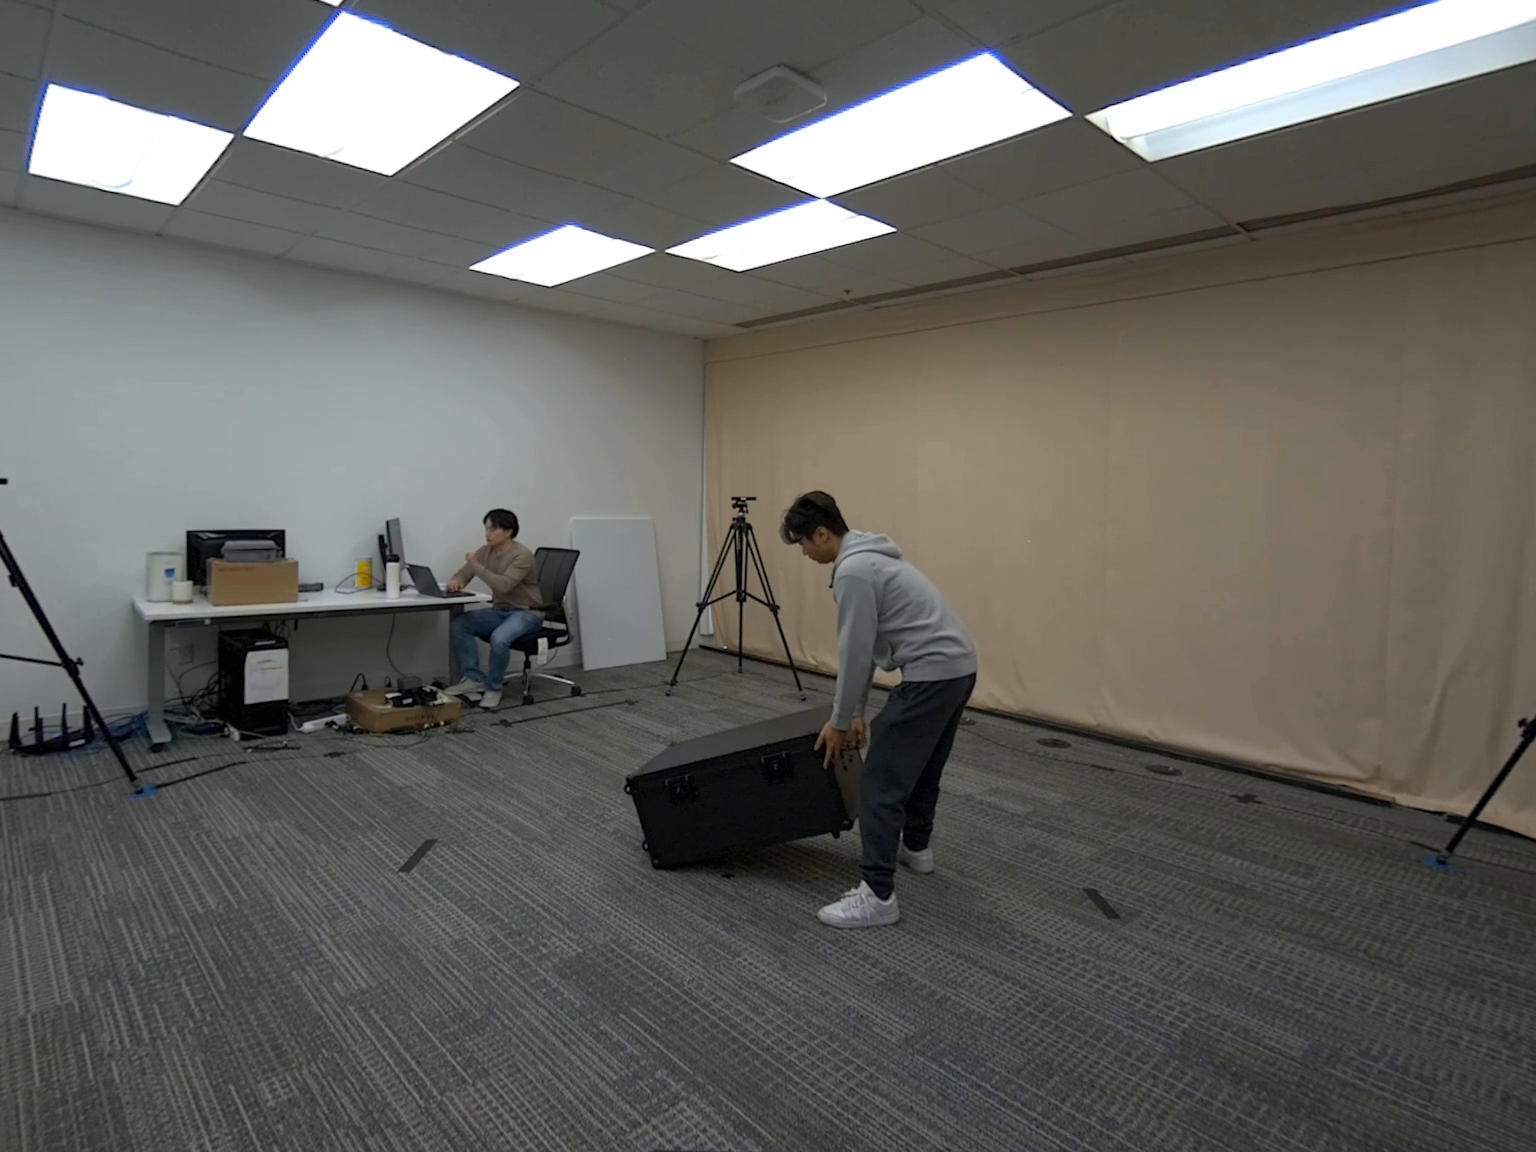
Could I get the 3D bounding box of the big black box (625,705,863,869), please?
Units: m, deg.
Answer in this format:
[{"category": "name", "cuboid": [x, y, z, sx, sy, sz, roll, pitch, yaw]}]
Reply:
[{"category": "big black box", "cuboid": [-0.087, 0.808, 3.277, 0.870, 0.397, 0.516, -15, 0, 17]}]
